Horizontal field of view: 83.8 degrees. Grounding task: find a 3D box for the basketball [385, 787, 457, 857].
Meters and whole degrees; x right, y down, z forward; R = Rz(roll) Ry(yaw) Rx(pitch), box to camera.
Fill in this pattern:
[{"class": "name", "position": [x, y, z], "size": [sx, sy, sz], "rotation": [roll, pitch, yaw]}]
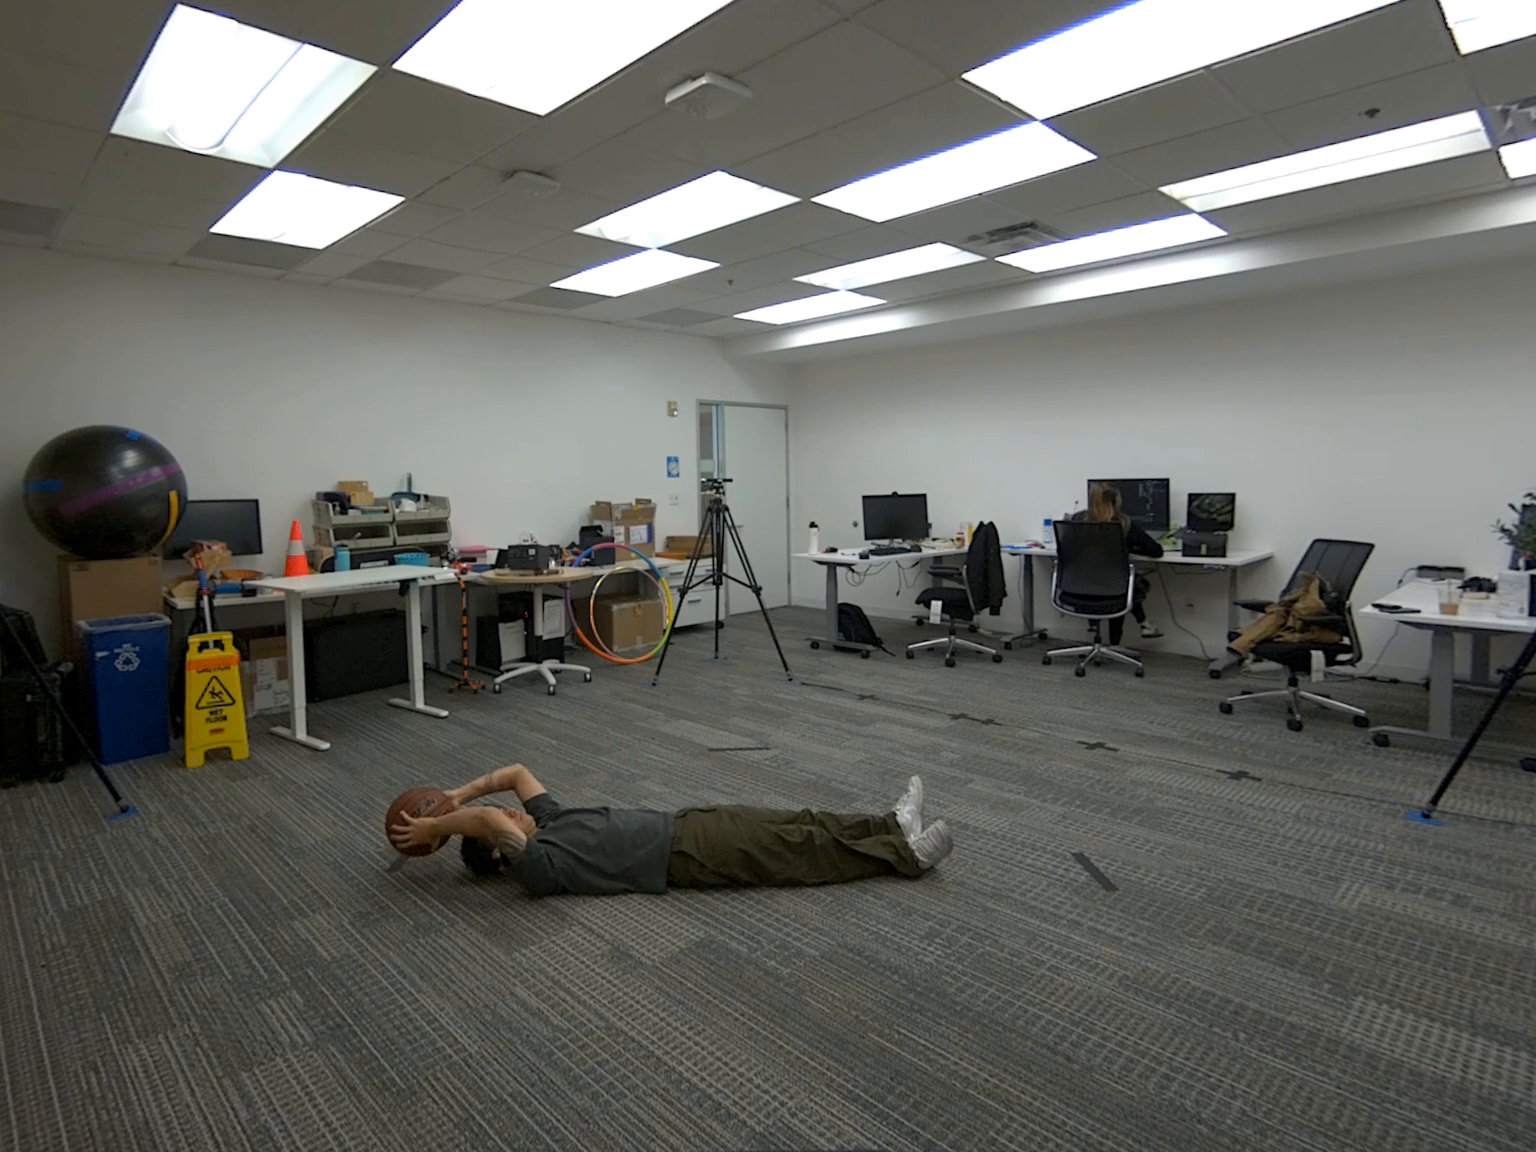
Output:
[{"class": "basketball", "position": [-1.227, 0.863, 3.046], "size": [0.236, 0.235, 0.237], "rotation": [-1, 5, -2]}]
